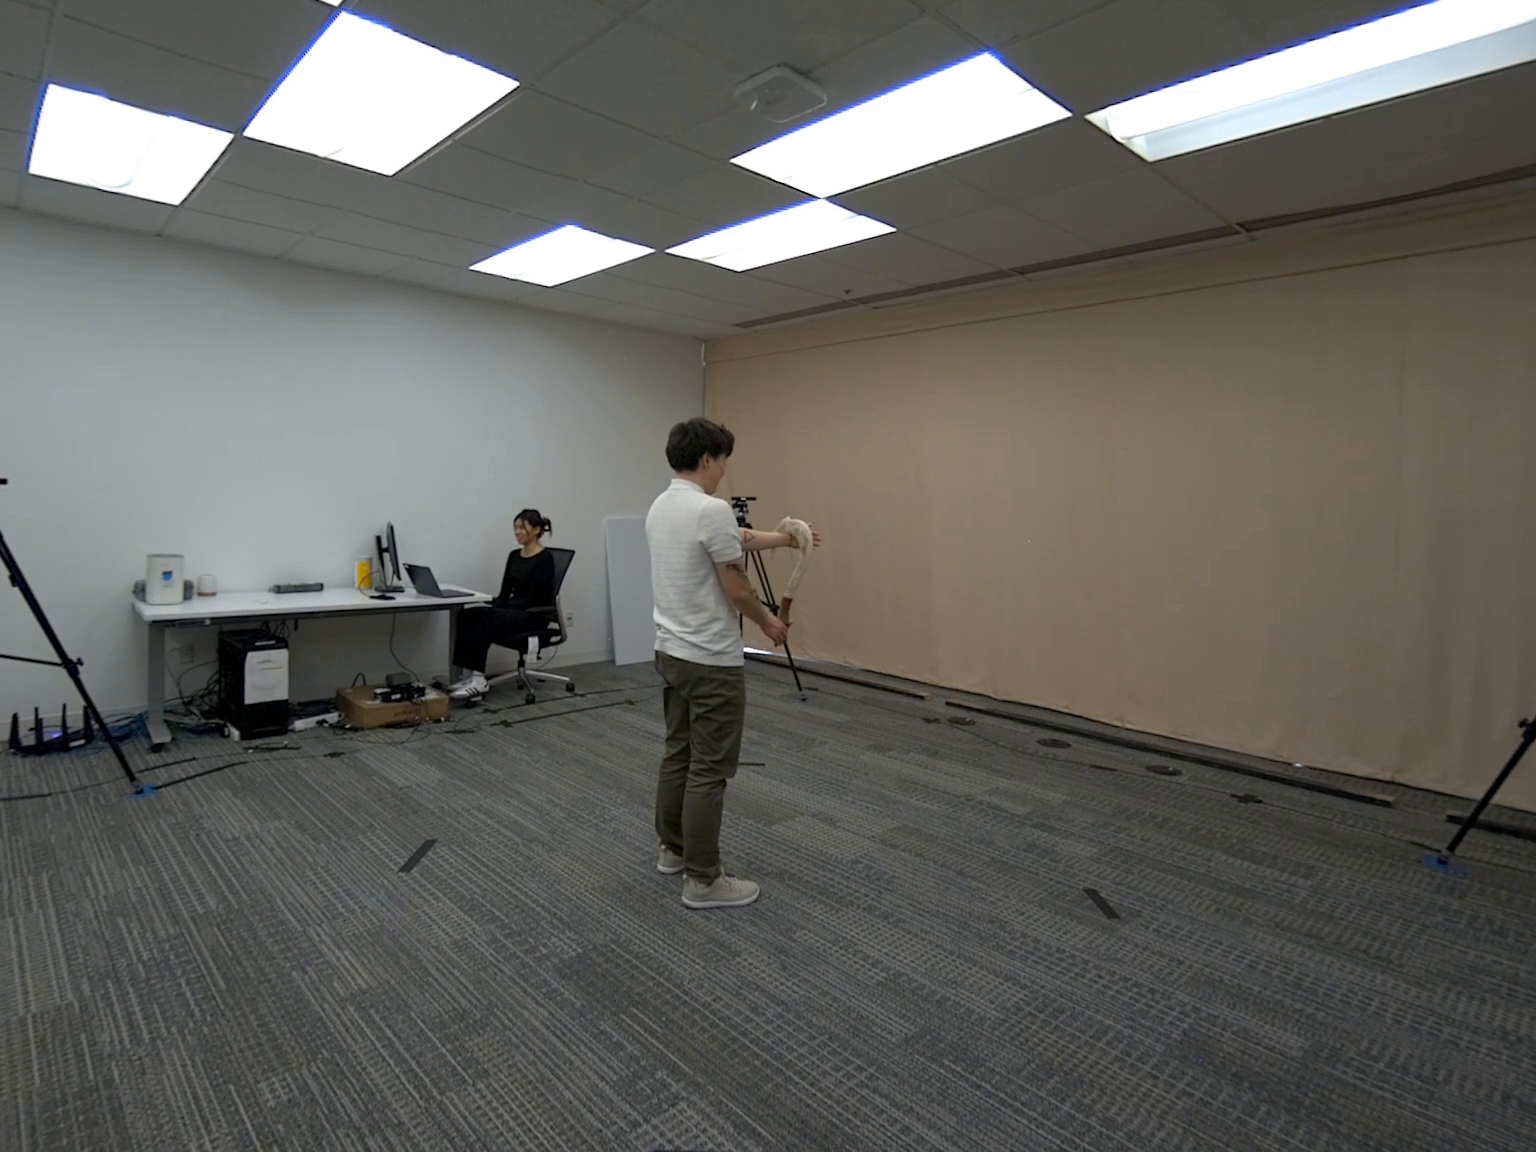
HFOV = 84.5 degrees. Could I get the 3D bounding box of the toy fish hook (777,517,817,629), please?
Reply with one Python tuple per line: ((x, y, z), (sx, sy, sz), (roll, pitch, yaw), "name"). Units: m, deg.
((0.052, 0.020, 3.370), (0.047, 0.504, 0.231), (4, 11, -41), "toy fish hook")
